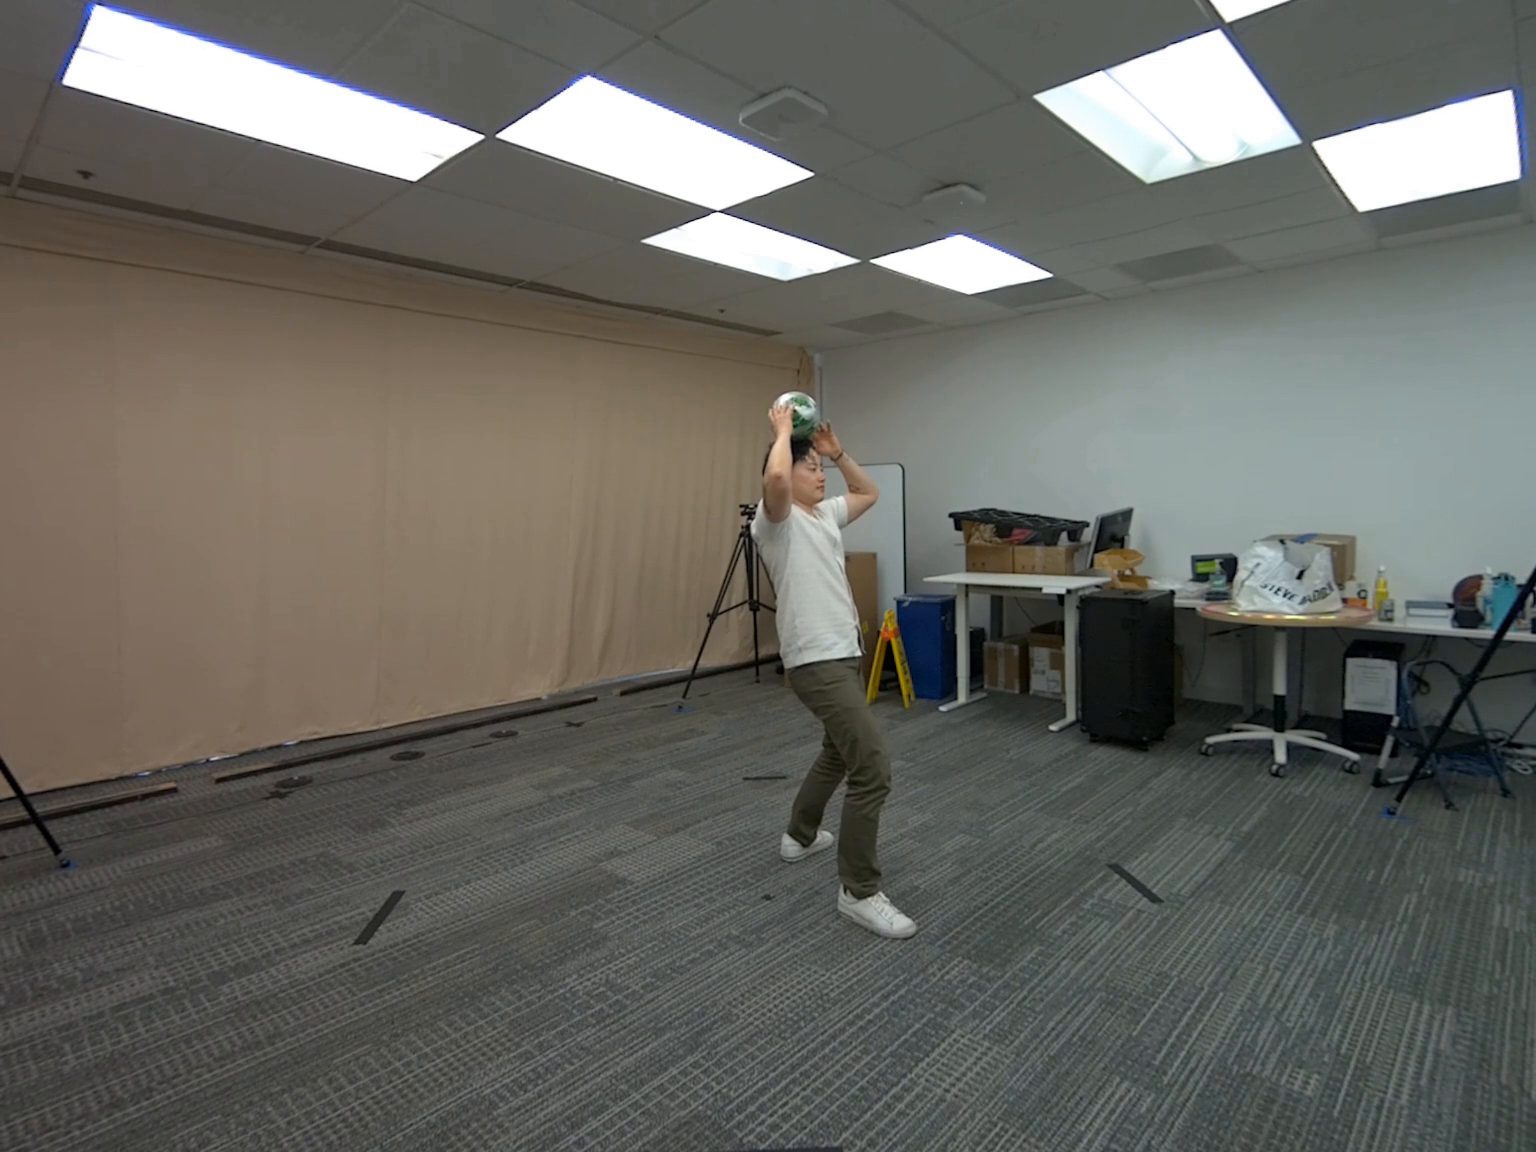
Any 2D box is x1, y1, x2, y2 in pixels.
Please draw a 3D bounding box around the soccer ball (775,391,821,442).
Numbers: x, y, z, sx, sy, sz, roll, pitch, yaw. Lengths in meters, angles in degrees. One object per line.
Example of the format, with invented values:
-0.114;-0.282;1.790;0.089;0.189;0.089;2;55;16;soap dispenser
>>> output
0.098;-0.581;3.093;0.187;0.187;0.188;-1;4;-2;soccer ball
